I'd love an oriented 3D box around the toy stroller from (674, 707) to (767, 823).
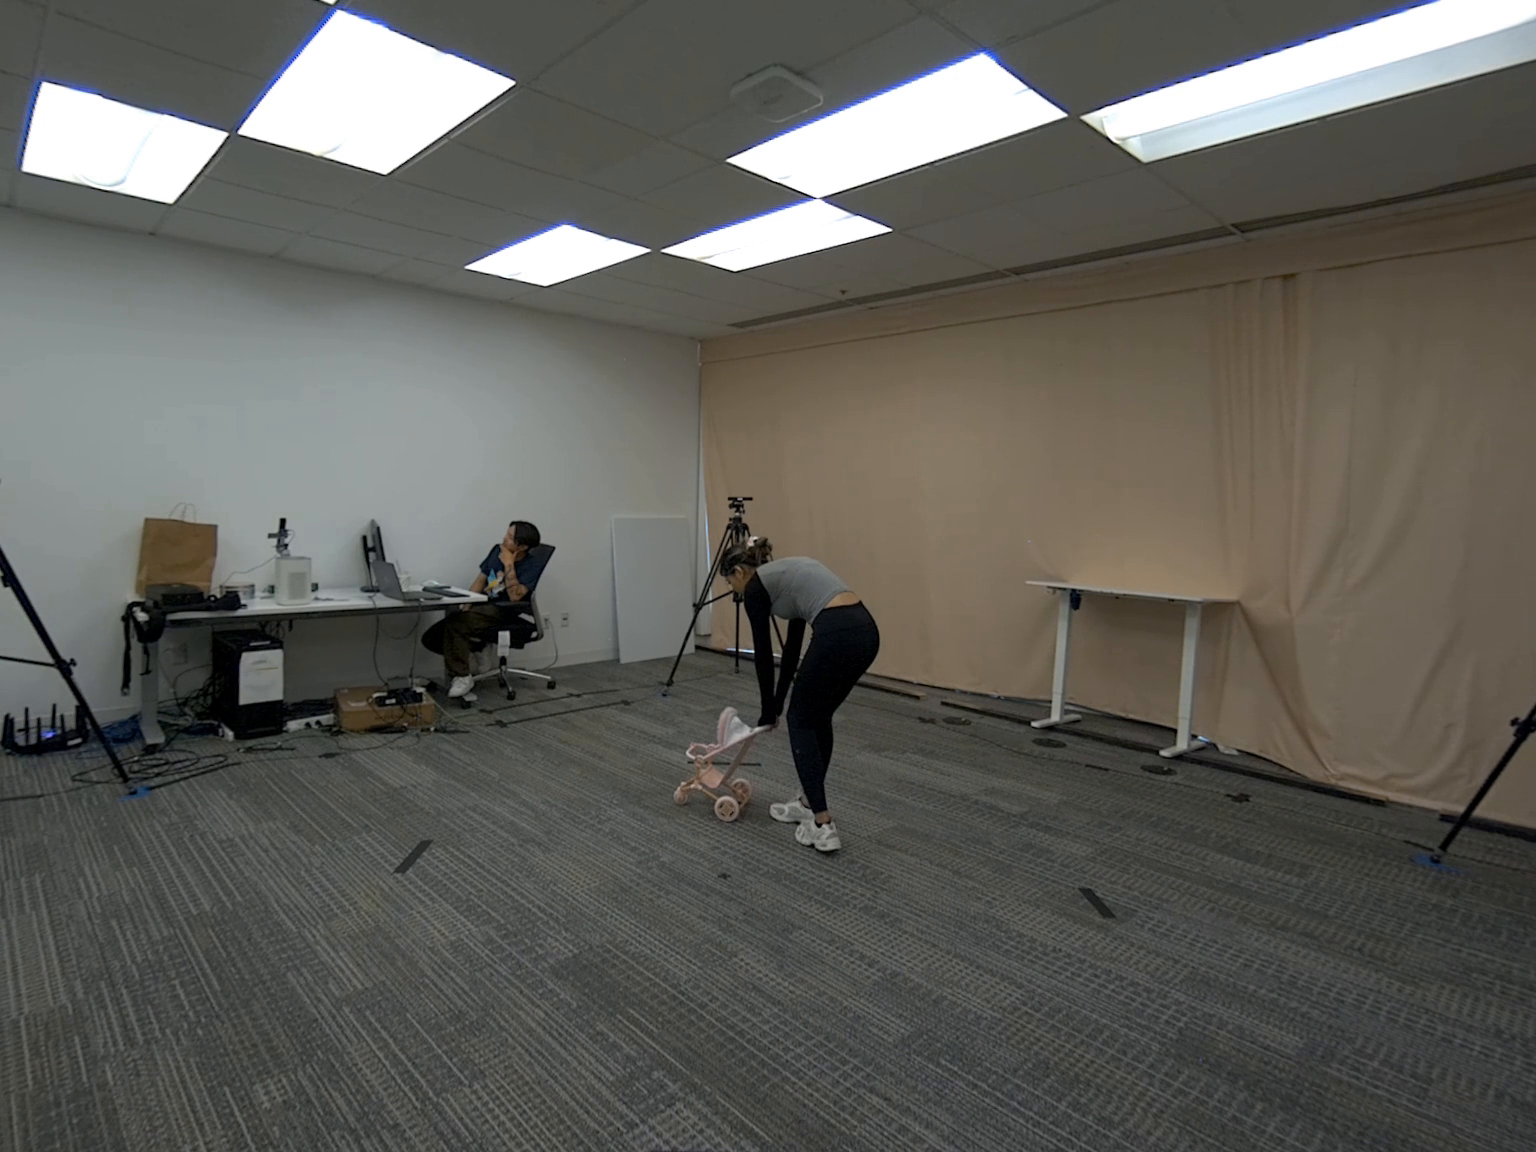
[{"bbox_3d":[-0.210,0.822,3.762,0.347,0.533,0.277,20,9,18],"label":"toy stroller"}]
